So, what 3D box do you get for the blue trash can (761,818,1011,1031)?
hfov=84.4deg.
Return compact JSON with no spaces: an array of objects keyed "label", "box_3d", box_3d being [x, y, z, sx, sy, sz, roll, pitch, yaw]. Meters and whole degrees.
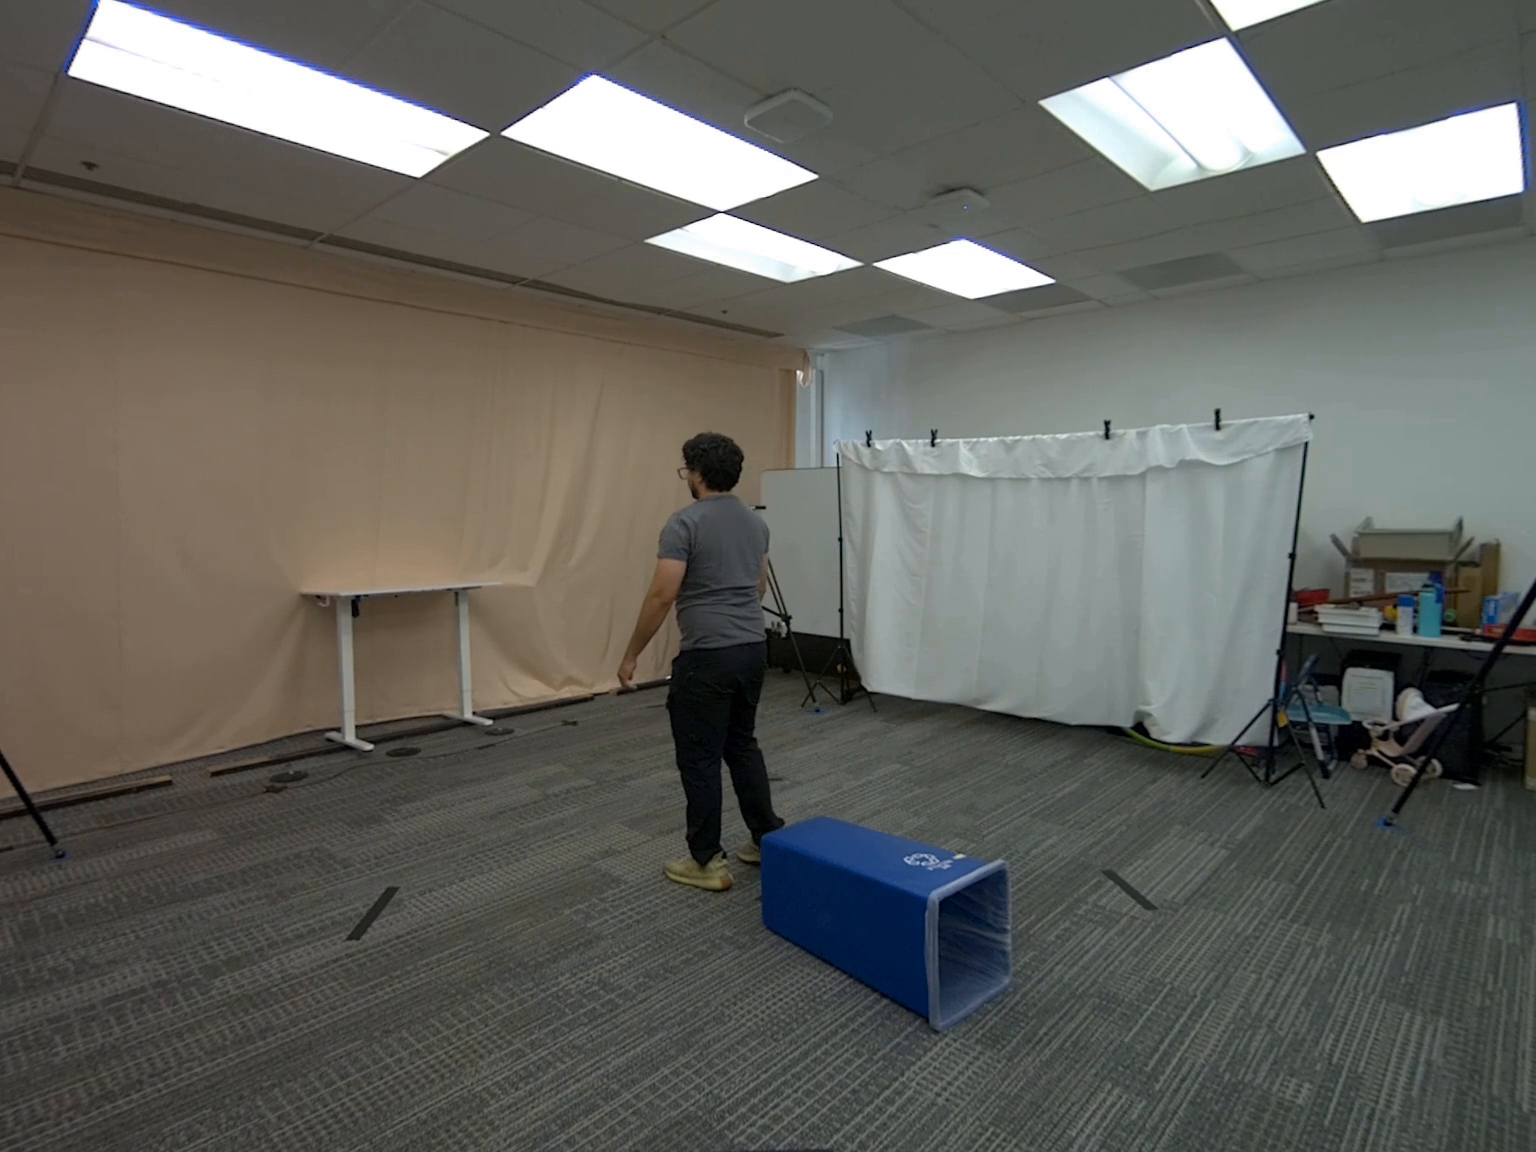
[{"label":"blue trash can","box_3d":[0.334,0.998,2.591,0.366,0.373,0.737,-4,4,-42]}]
